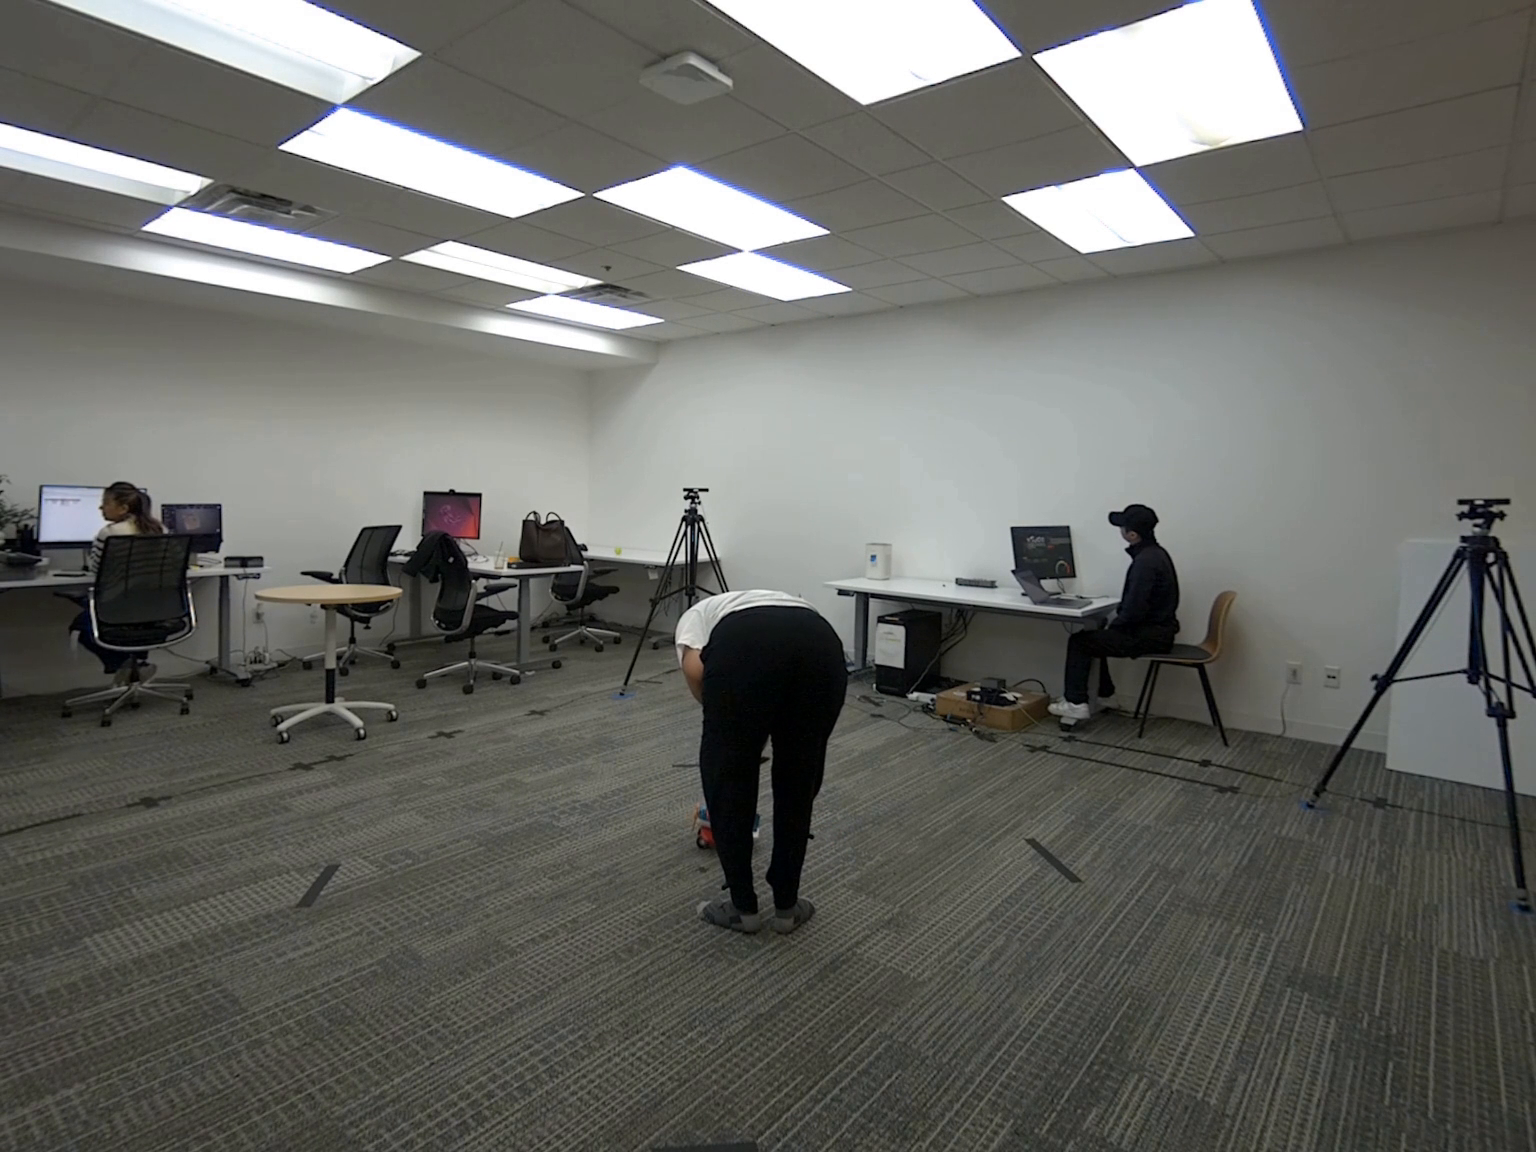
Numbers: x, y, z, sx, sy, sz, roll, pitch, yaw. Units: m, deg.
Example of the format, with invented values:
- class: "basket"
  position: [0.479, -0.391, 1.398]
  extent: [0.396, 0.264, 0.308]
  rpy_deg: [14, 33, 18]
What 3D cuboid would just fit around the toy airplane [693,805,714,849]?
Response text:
- class: "toy airplane"
  position: [-0.177, 0.972, 3.353]
  extent: [0.253, 0.156, 0.258]
  rpy_deg: [-2, 4, -27]
